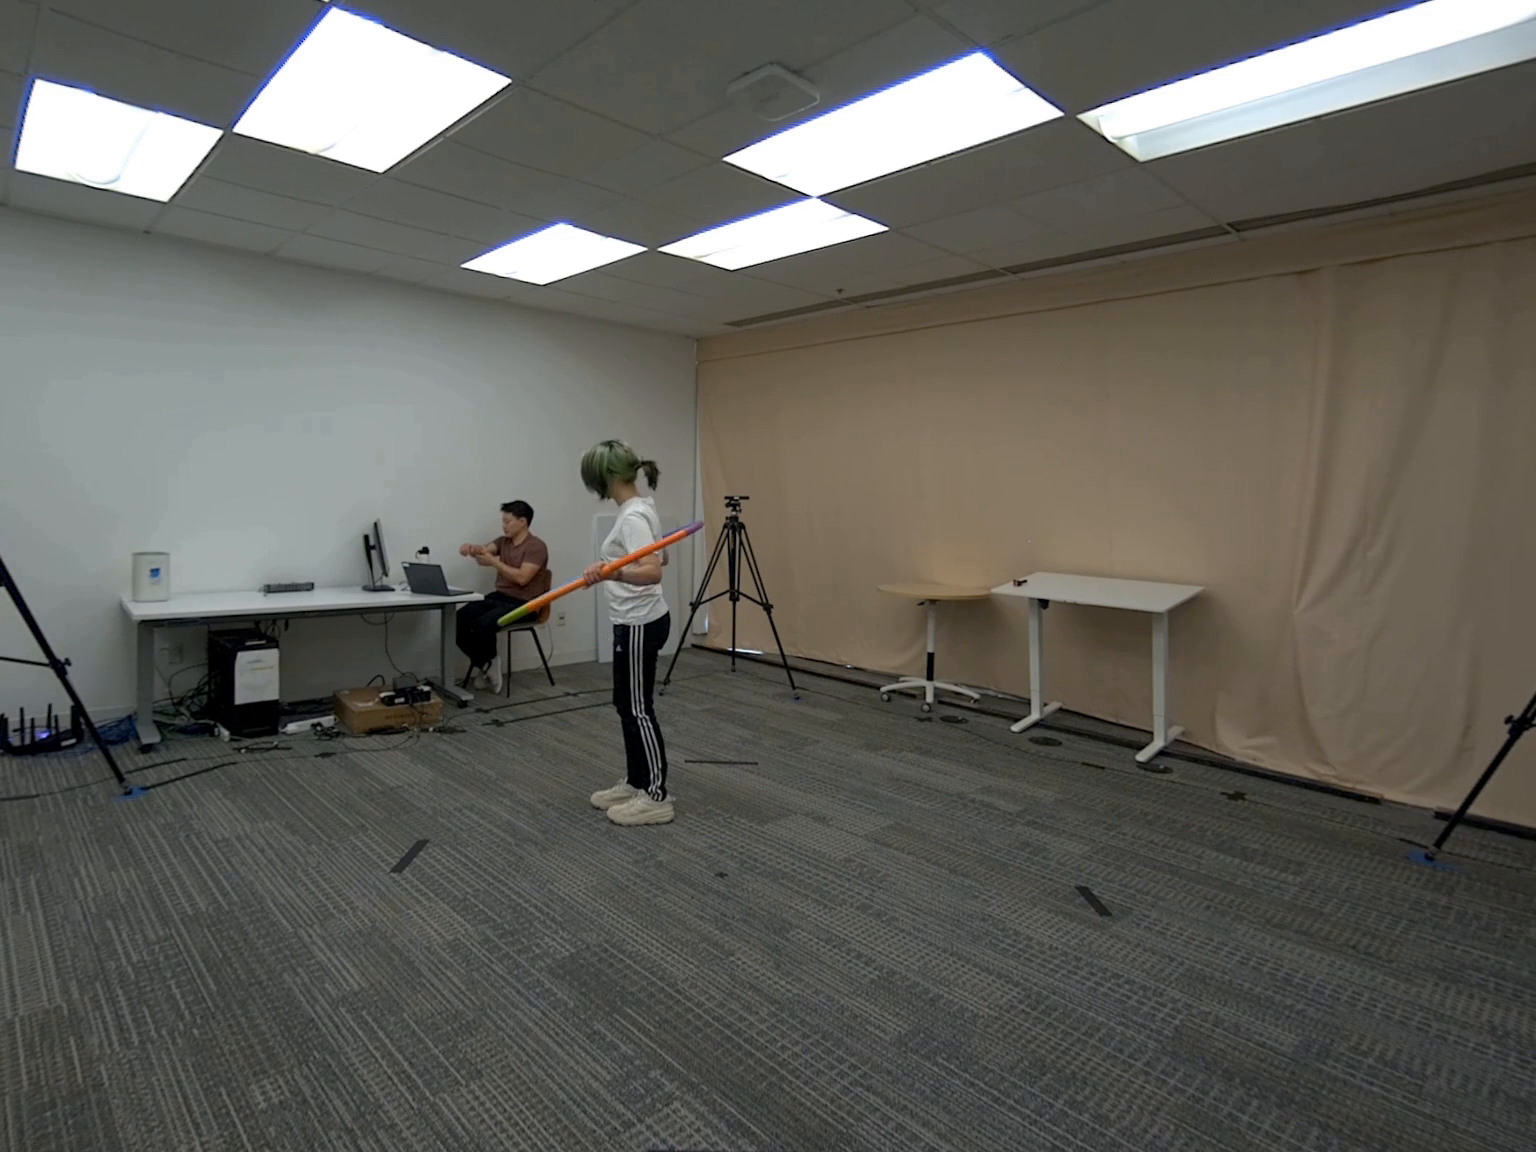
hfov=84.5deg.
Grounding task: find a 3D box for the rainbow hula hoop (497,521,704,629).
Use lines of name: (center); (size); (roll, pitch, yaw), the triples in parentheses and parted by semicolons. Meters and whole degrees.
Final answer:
rainbow hula hoop: (-0.722, -0.010, 3.670); (0.985, 0.051, 0.989); (-26, 6, 1)
